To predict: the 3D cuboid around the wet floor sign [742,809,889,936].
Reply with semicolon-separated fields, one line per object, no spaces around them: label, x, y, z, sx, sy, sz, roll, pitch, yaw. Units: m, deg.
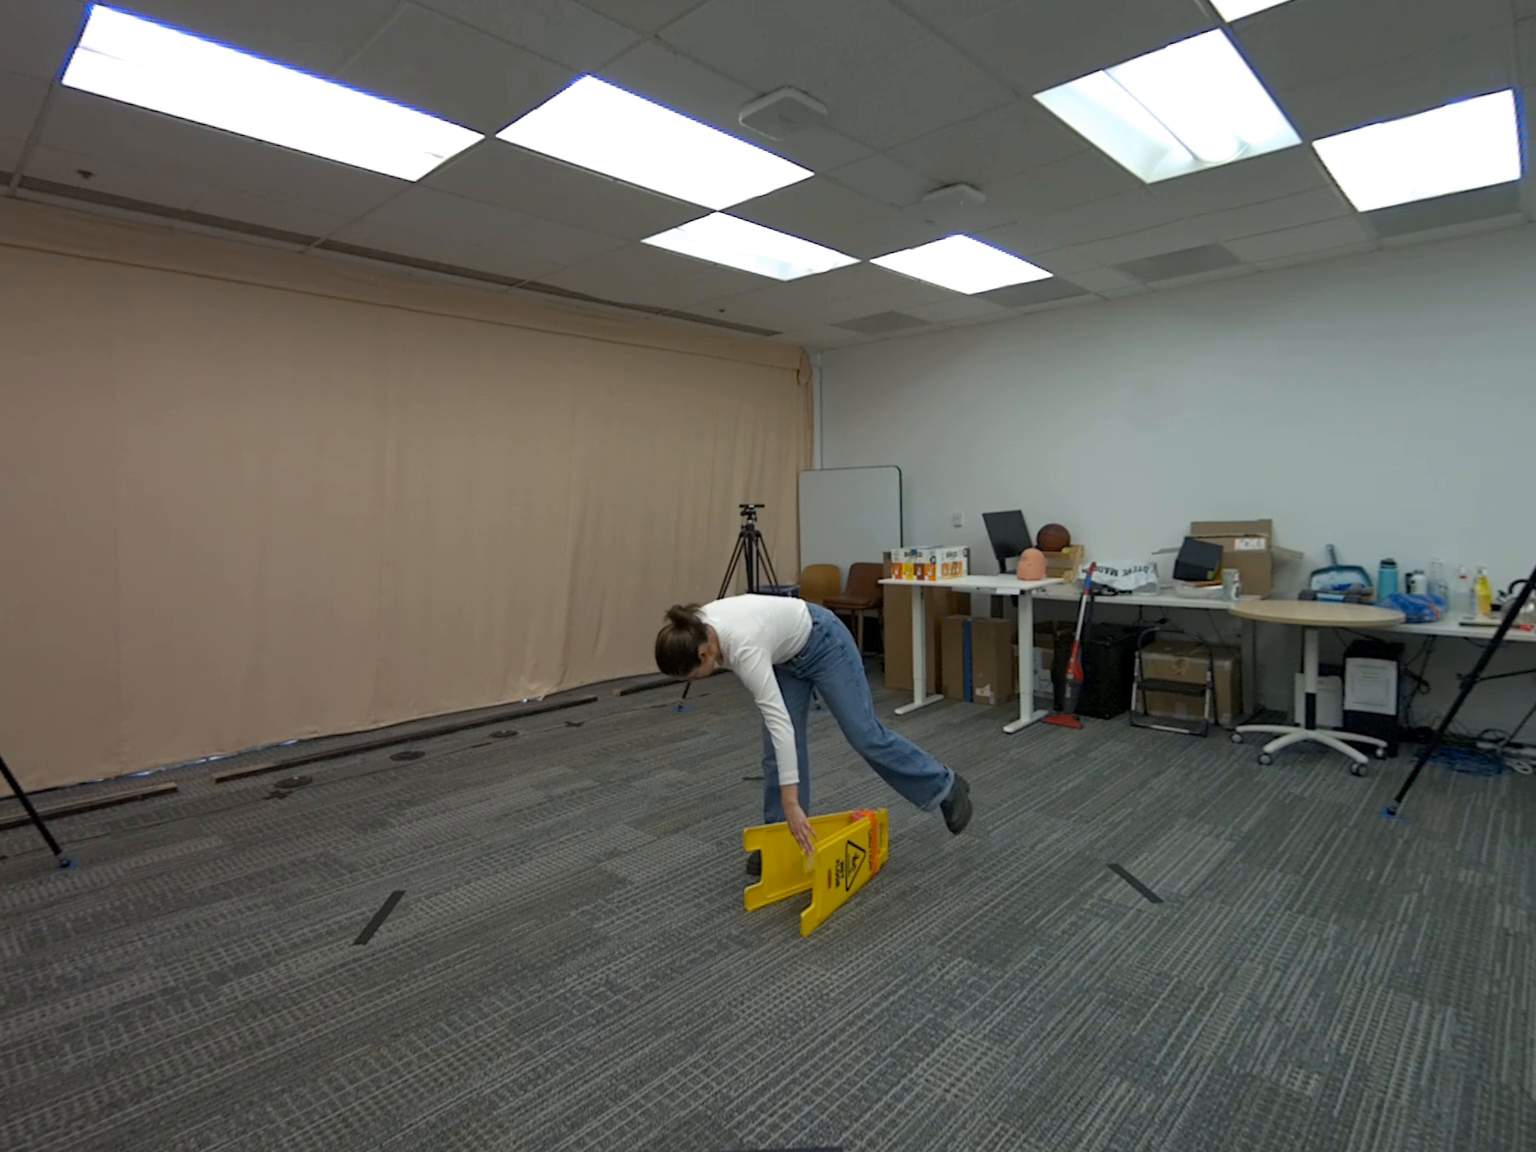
wet floor sign;0.236;1.004;3.013;0.299;0.282;0.626;4;5;45
